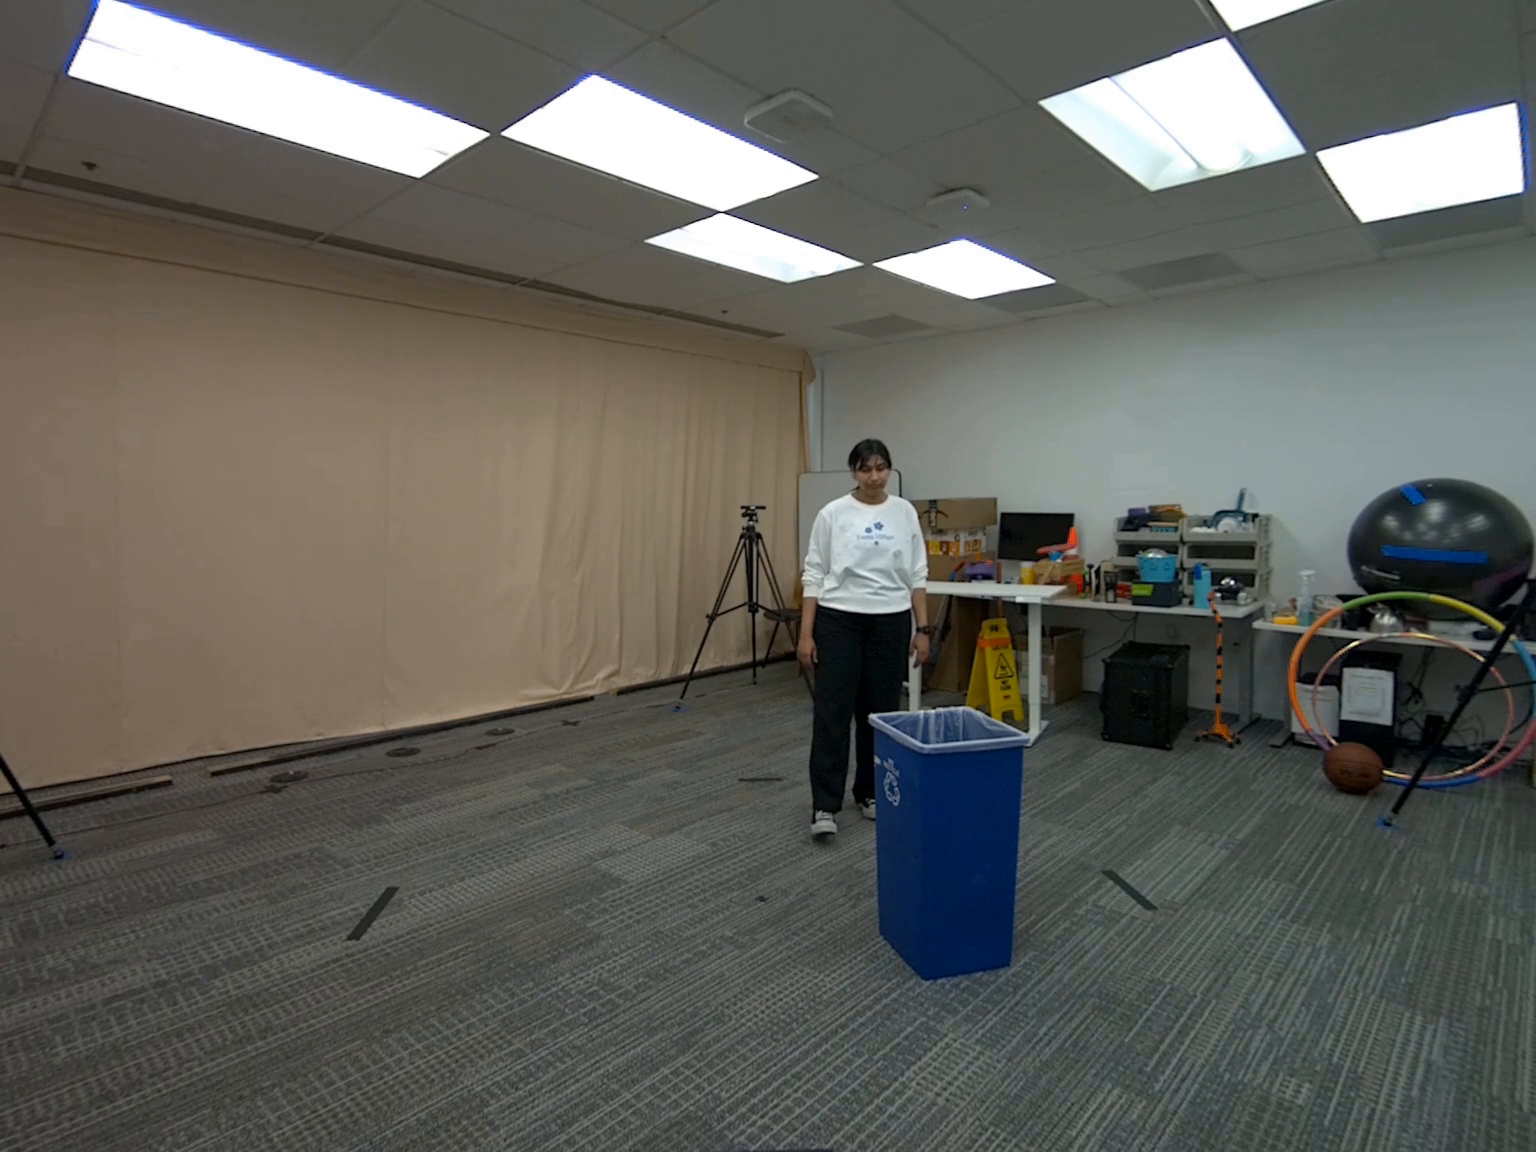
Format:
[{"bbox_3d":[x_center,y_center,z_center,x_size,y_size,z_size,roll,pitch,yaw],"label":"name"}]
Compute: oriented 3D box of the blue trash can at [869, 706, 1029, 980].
[{"bbox_3d":[0.551,0.811,2.623,0.372,0.712,0.381,-1,4,-17],"label":"blue trash can"}]
